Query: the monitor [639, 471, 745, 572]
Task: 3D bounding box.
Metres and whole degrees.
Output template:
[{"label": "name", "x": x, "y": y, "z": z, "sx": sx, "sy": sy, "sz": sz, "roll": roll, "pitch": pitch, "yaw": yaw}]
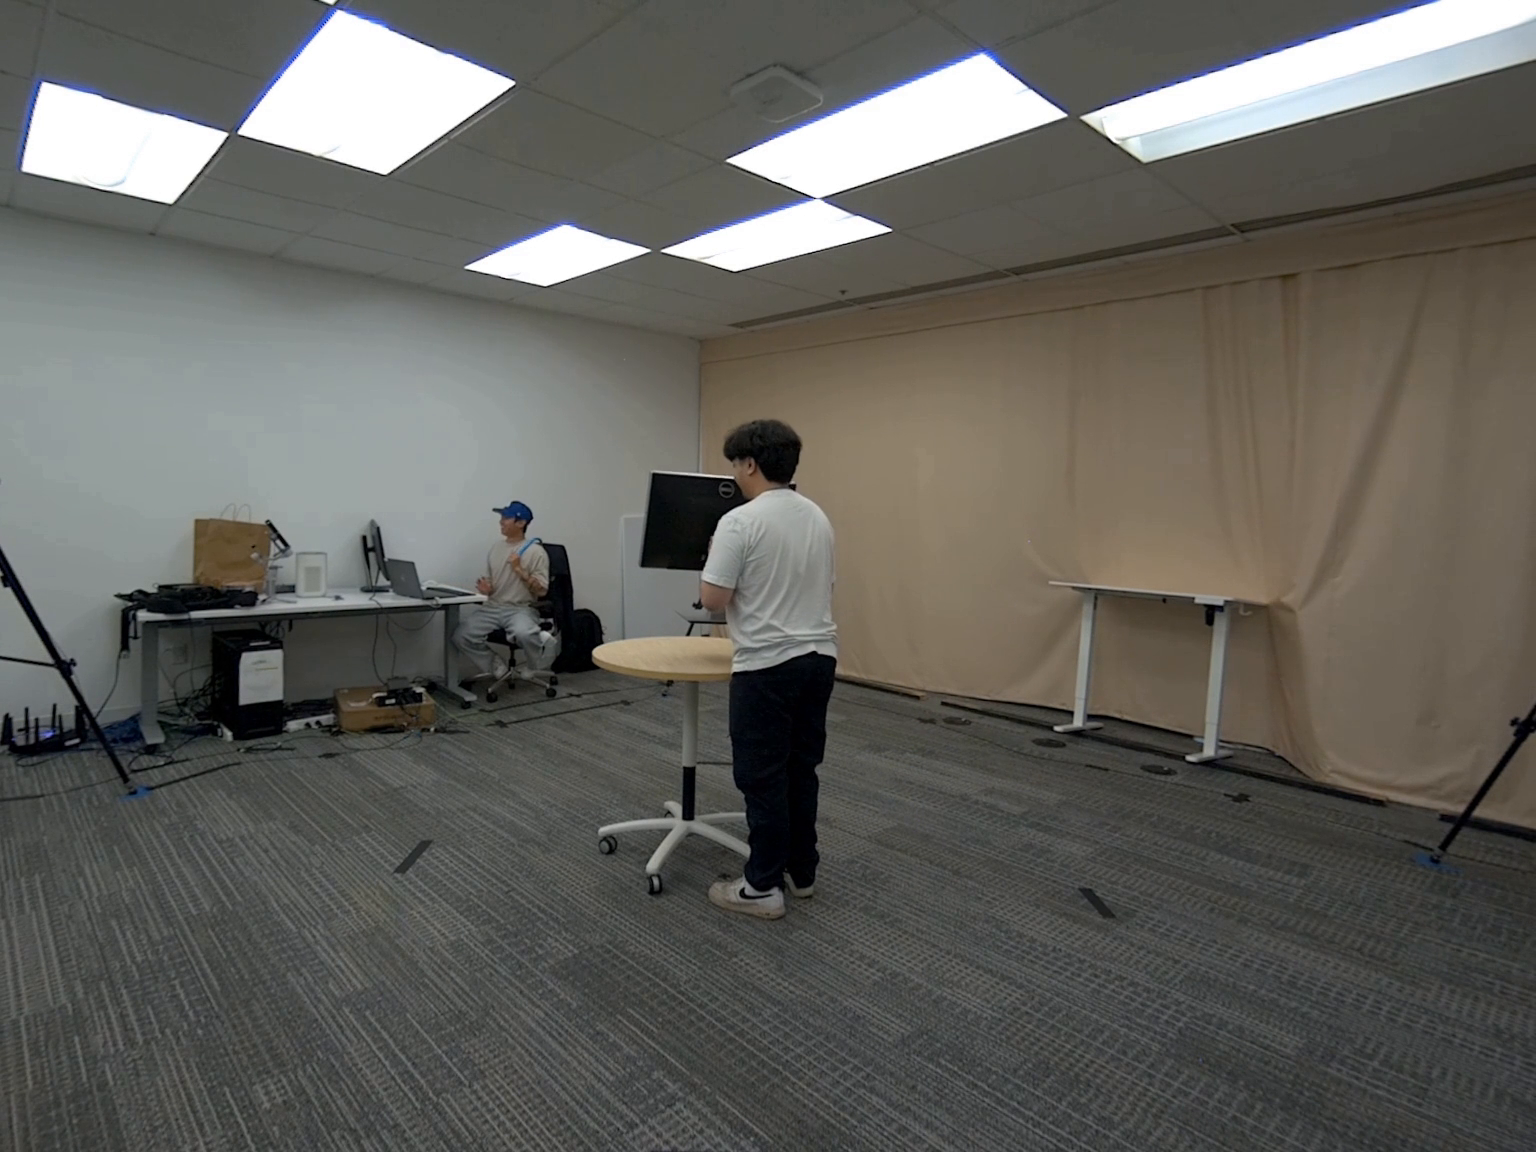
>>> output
[{"label": "monitor", "x": -0.174, "y": -0.082, "z": 3.058, "sx": 0.556, "sy": 0.550, "sz": 0.215, "roll": 3, "pitch": 12, "yaw": -20}]
